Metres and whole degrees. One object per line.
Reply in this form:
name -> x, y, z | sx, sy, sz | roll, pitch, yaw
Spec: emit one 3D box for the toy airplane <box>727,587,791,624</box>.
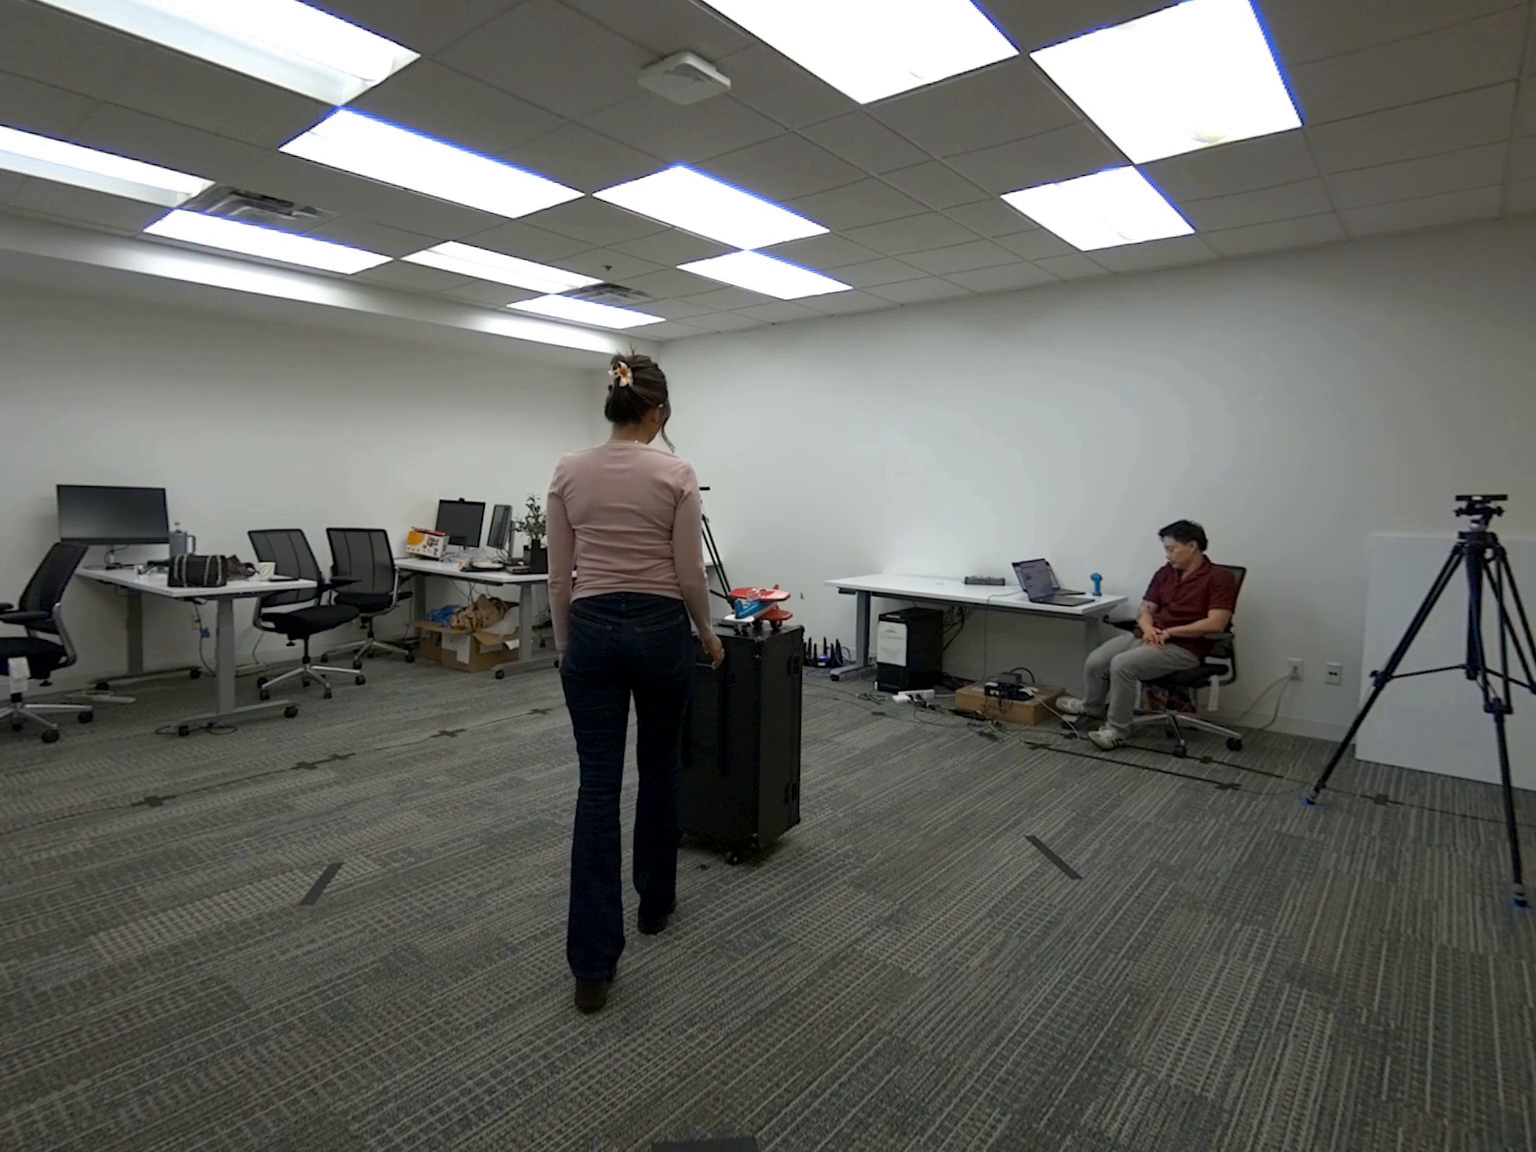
toy airplane -> -0.042, 0.128, 3.238 | 0.253, 0.156, 0.258 | 1, 4, 6
